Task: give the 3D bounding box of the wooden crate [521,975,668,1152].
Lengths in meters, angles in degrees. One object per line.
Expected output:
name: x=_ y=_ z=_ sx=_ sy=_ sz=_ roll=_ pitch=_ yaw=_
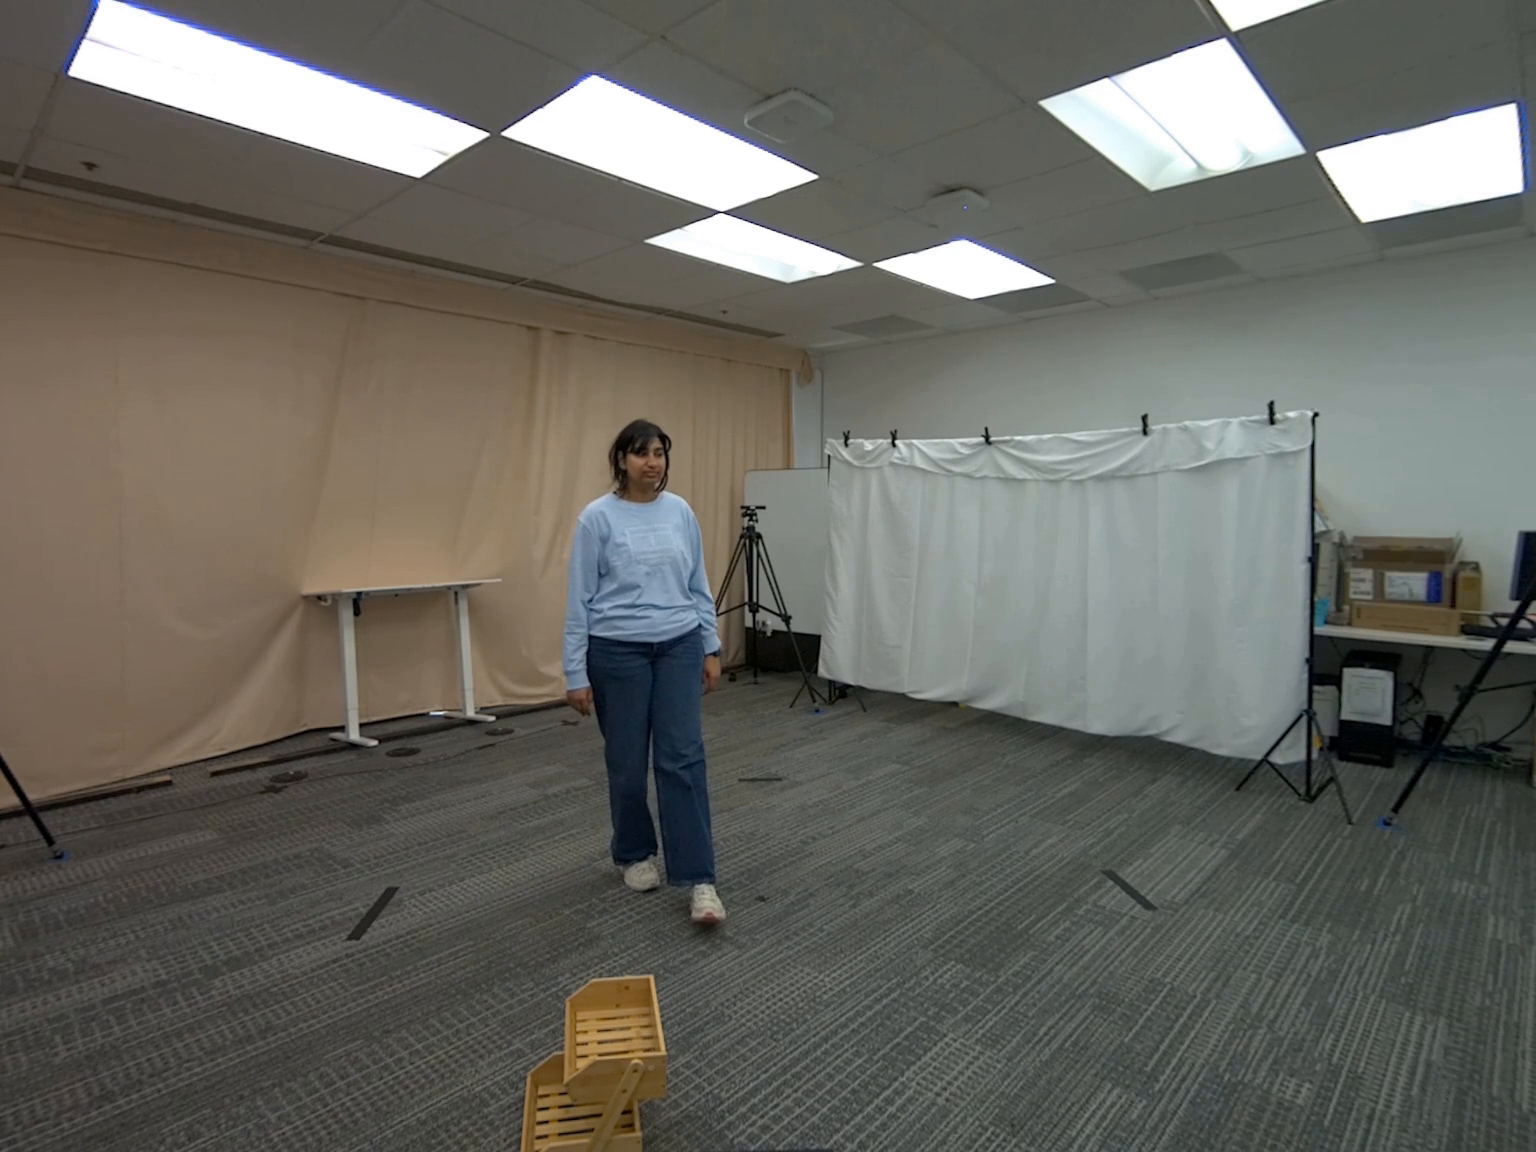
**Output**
wooden crate: x=-0.397 y=1.107 z=1.861 sx=0.298 sy=0.273 sz=0.329 roll=0 pitch=4 yaw=-12
